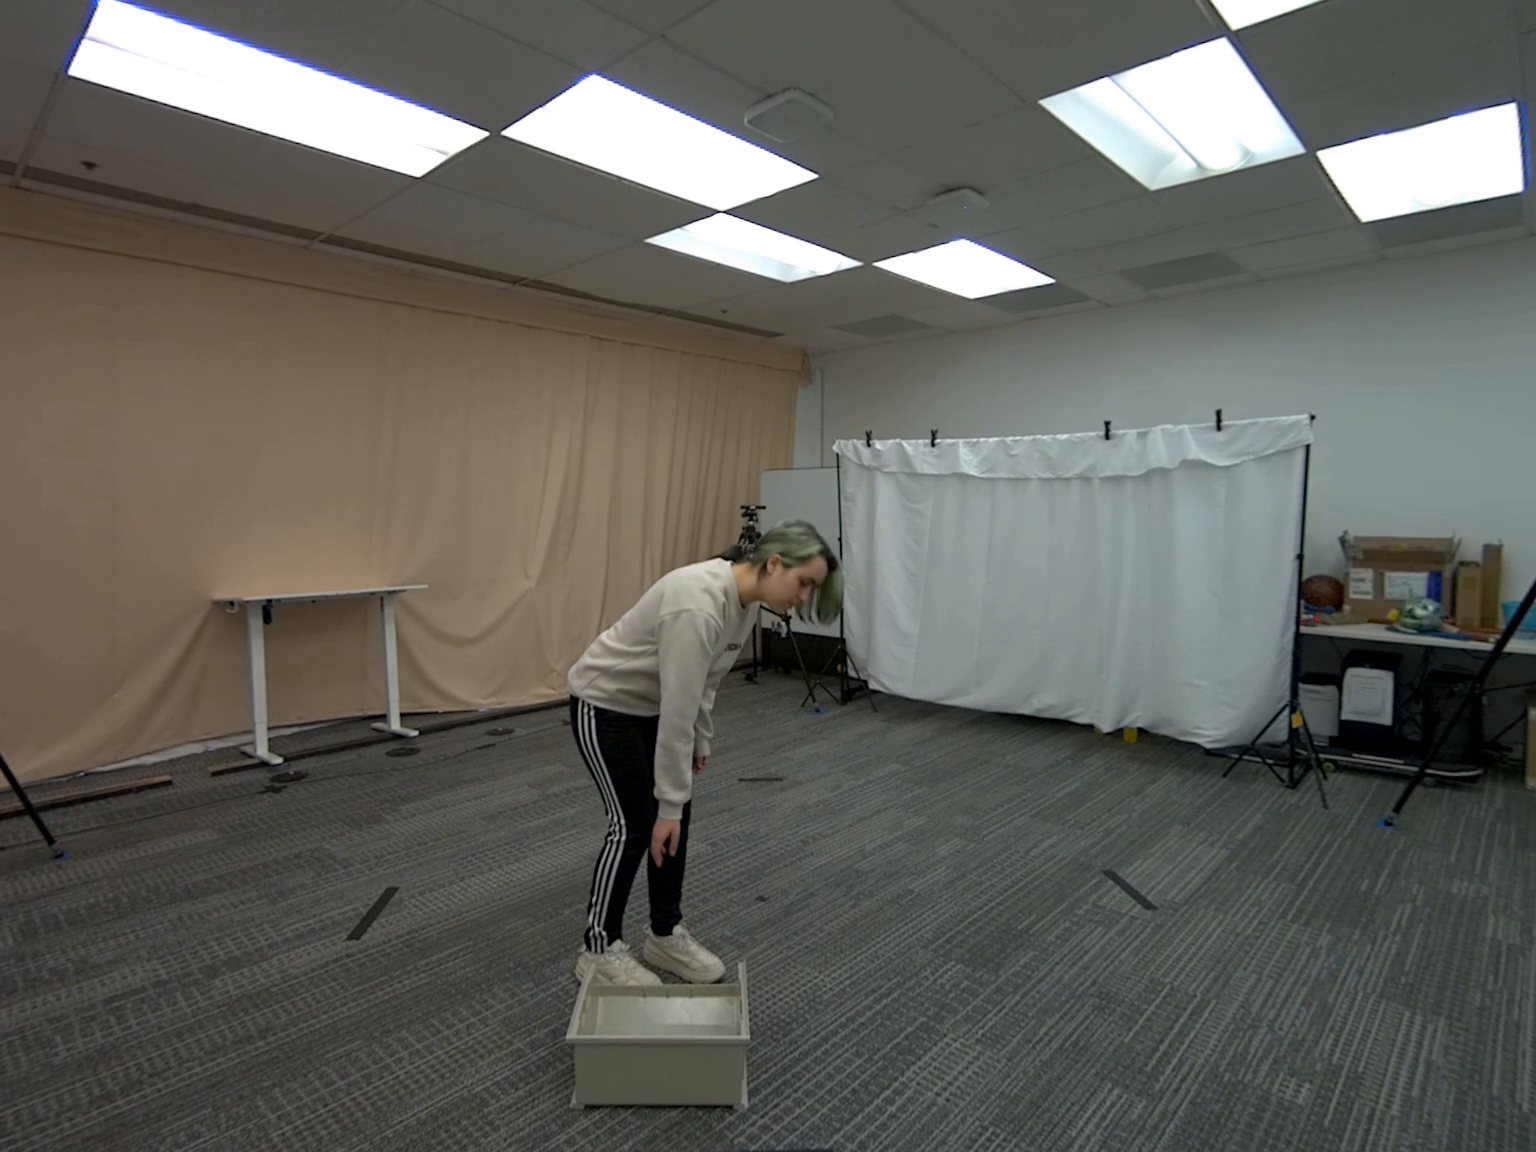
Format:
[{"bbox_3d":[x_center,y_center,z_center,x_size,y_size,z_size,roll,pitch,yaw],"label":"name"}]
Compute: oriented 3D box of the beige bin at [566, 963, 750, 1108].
[{"bbox_3d":[-0.261,1.127,2.116,0.421,0.188,0.379,0,5,-3],"label":"beige bin"}]
